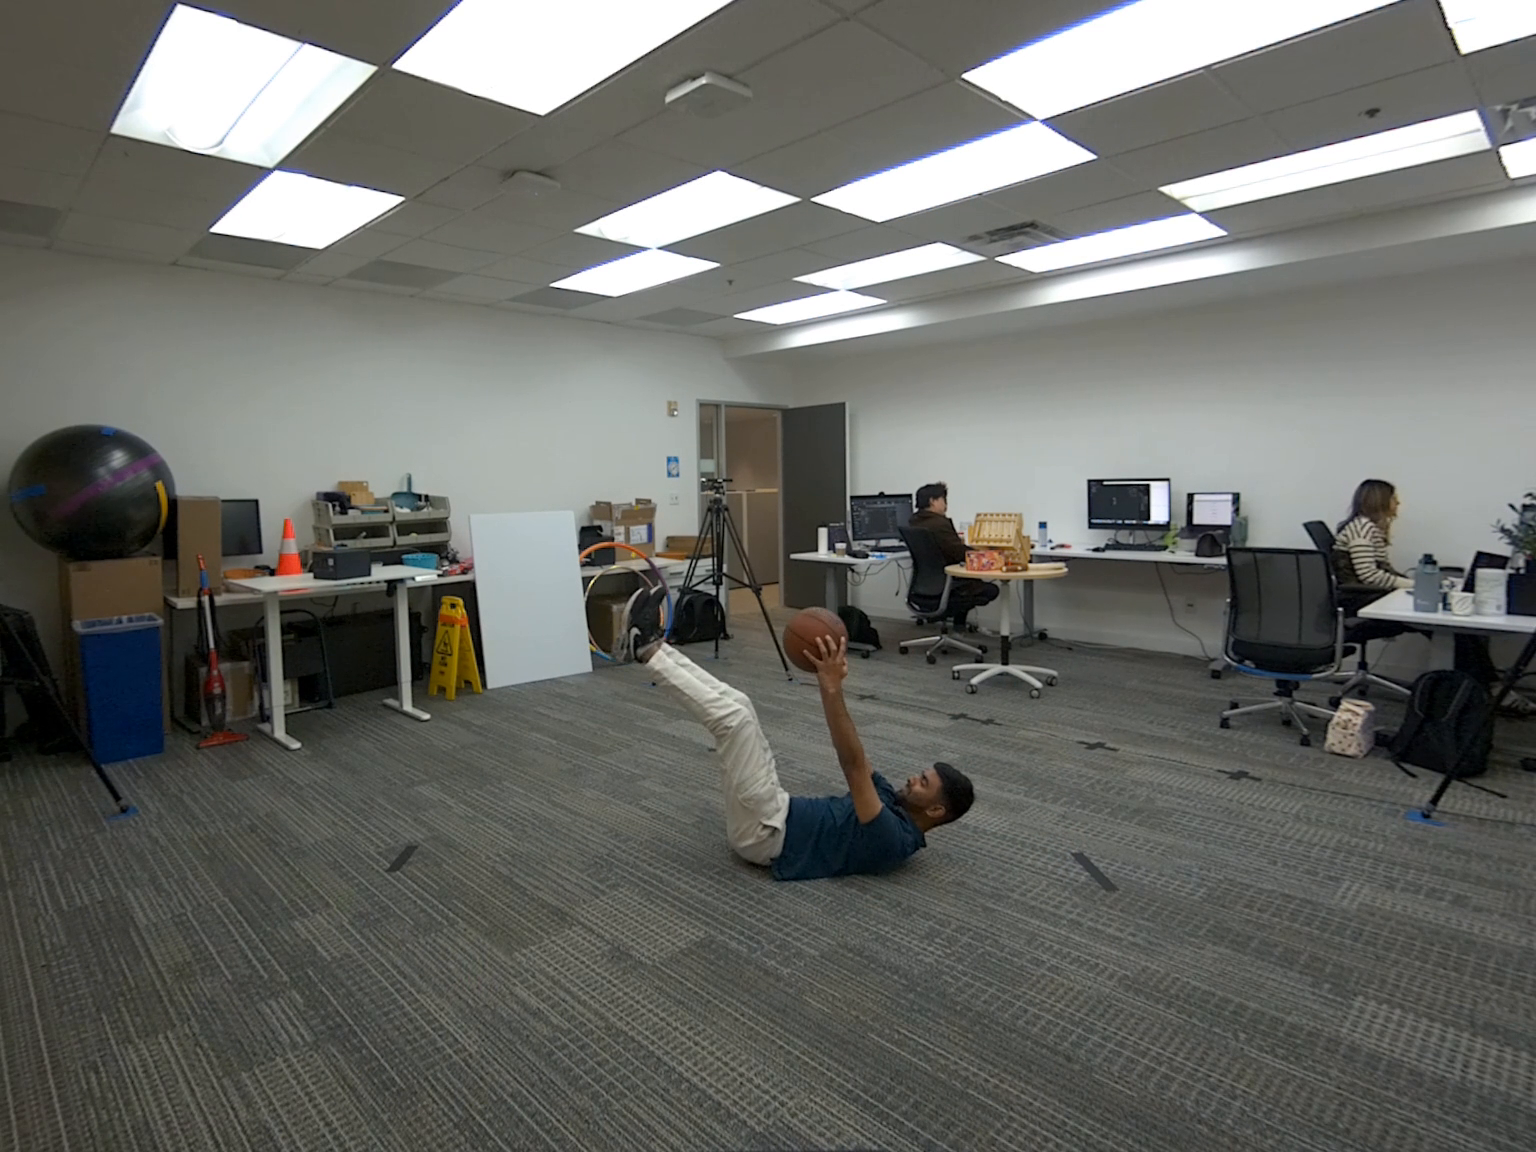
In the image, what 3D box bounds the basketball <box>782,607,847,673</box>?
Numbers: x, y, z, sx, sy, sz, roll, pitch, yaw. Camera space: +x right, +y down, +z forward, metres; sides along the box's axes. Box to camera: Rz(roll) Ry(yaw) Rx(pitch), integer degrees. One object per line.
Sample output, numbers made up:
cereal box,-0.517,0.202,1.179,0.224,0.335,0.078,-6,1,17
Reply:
basketball,0.181,0.237,3.122,0.236,0.235,0.237,-1,5,-2
